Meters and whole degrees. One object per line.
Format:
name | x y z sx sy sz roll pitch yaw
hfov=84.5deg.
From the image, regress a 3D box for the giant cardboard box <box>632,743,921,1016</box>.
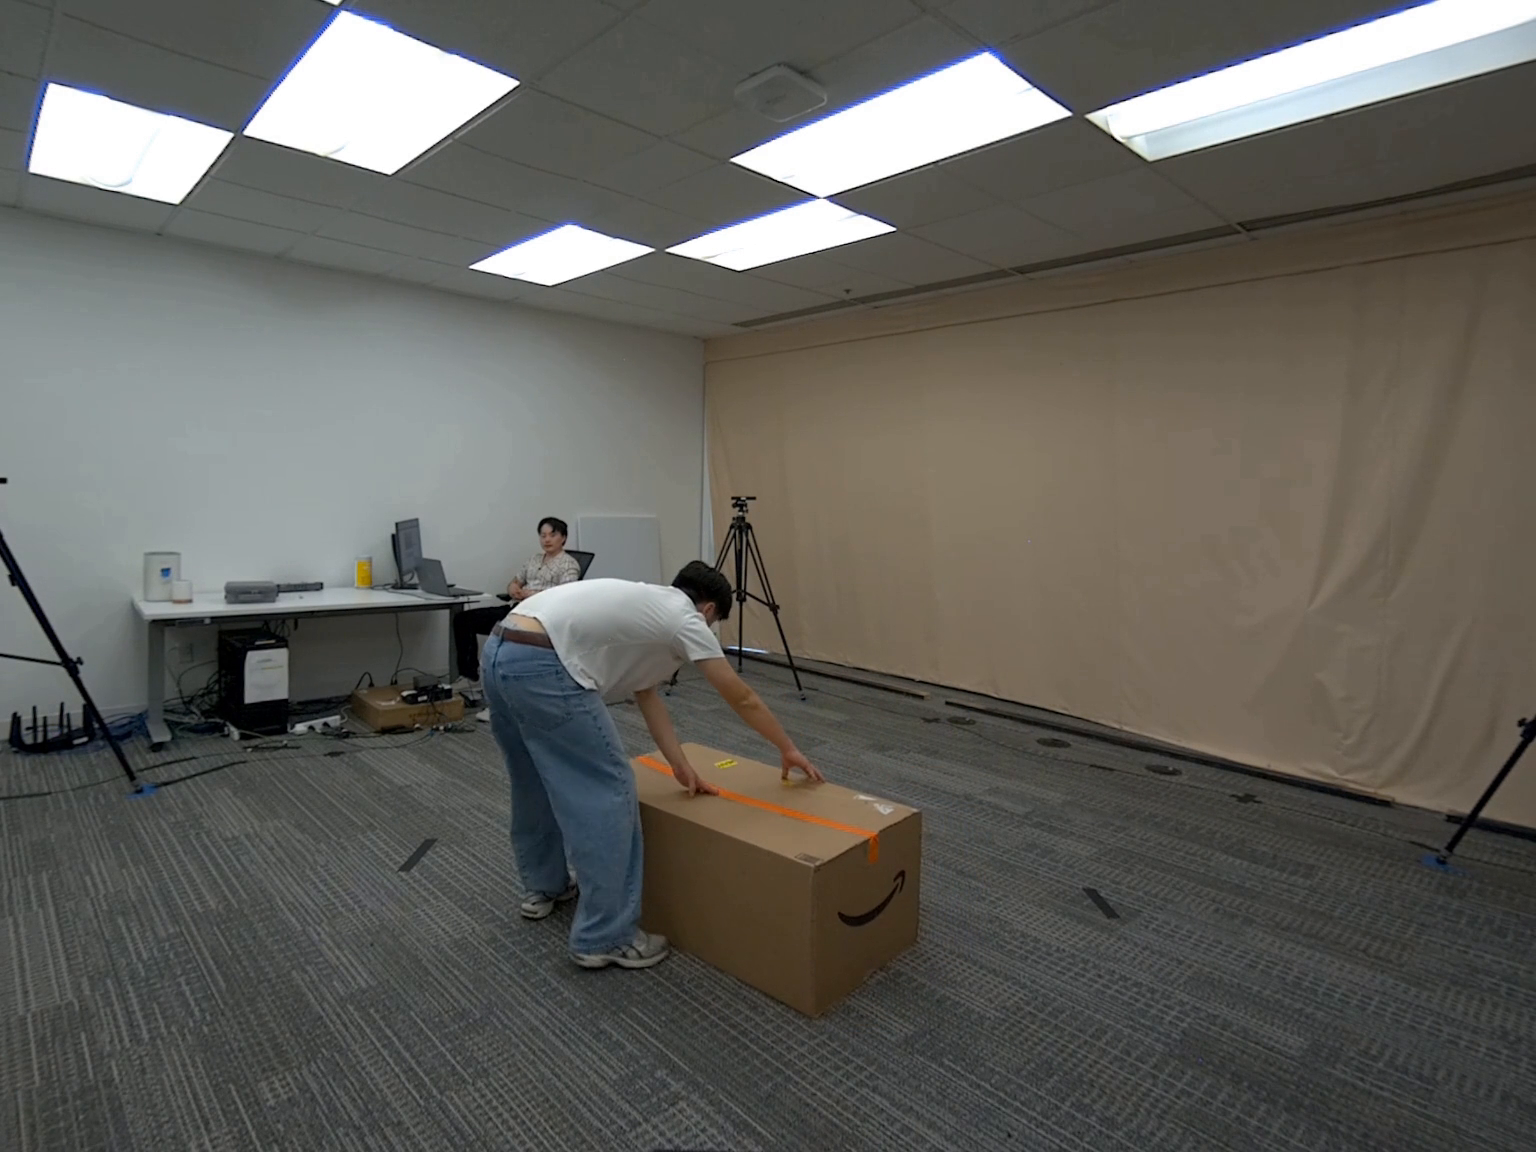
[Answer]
giant cardboard box | -0.091 0.929 2.788 1.052 0.425 0.565 6 6 40
